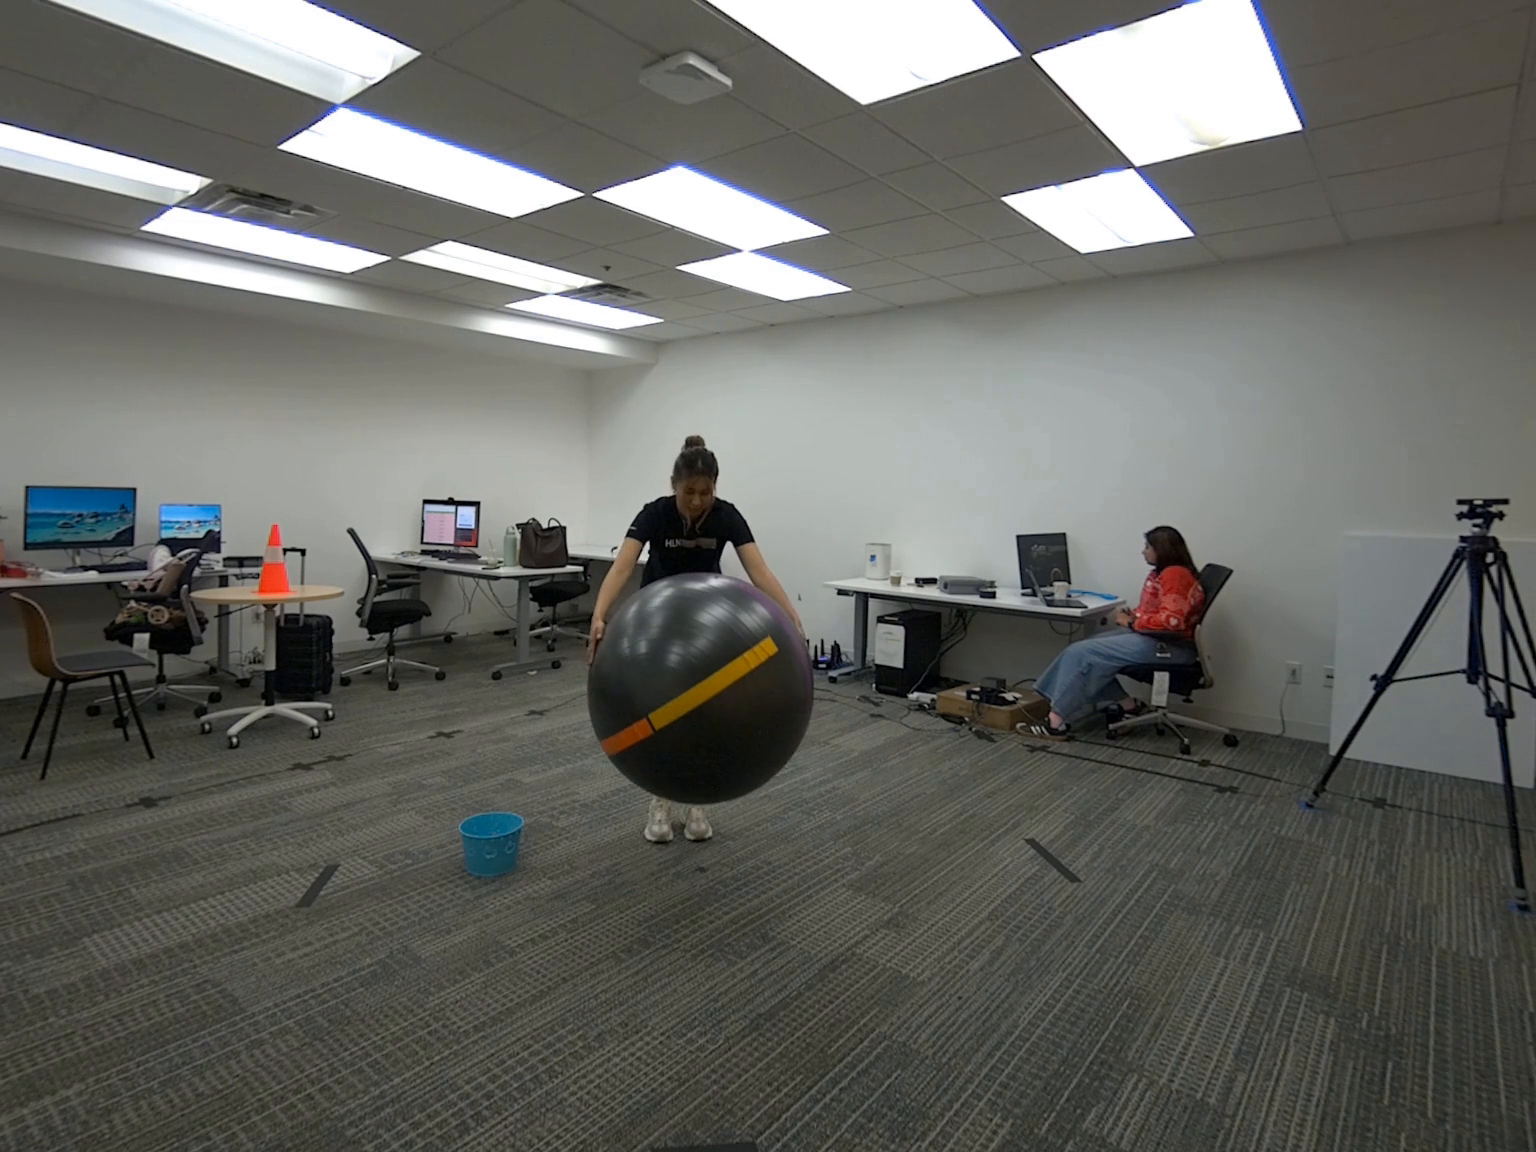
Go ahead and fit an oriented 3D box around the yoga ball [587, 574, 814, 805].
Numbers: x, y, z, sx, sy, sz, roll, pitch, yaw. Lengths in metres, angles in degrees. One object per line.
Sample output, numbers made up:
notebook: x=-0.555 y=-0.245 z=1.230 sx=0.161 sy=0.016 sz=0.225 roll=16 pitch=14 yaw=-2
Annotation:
yoga ball: x=-0.237 y=0.368 z=2.842 sx=0.757 sy=0.756 sz=0.762 roll=1 pitch=4 yaw=-2
